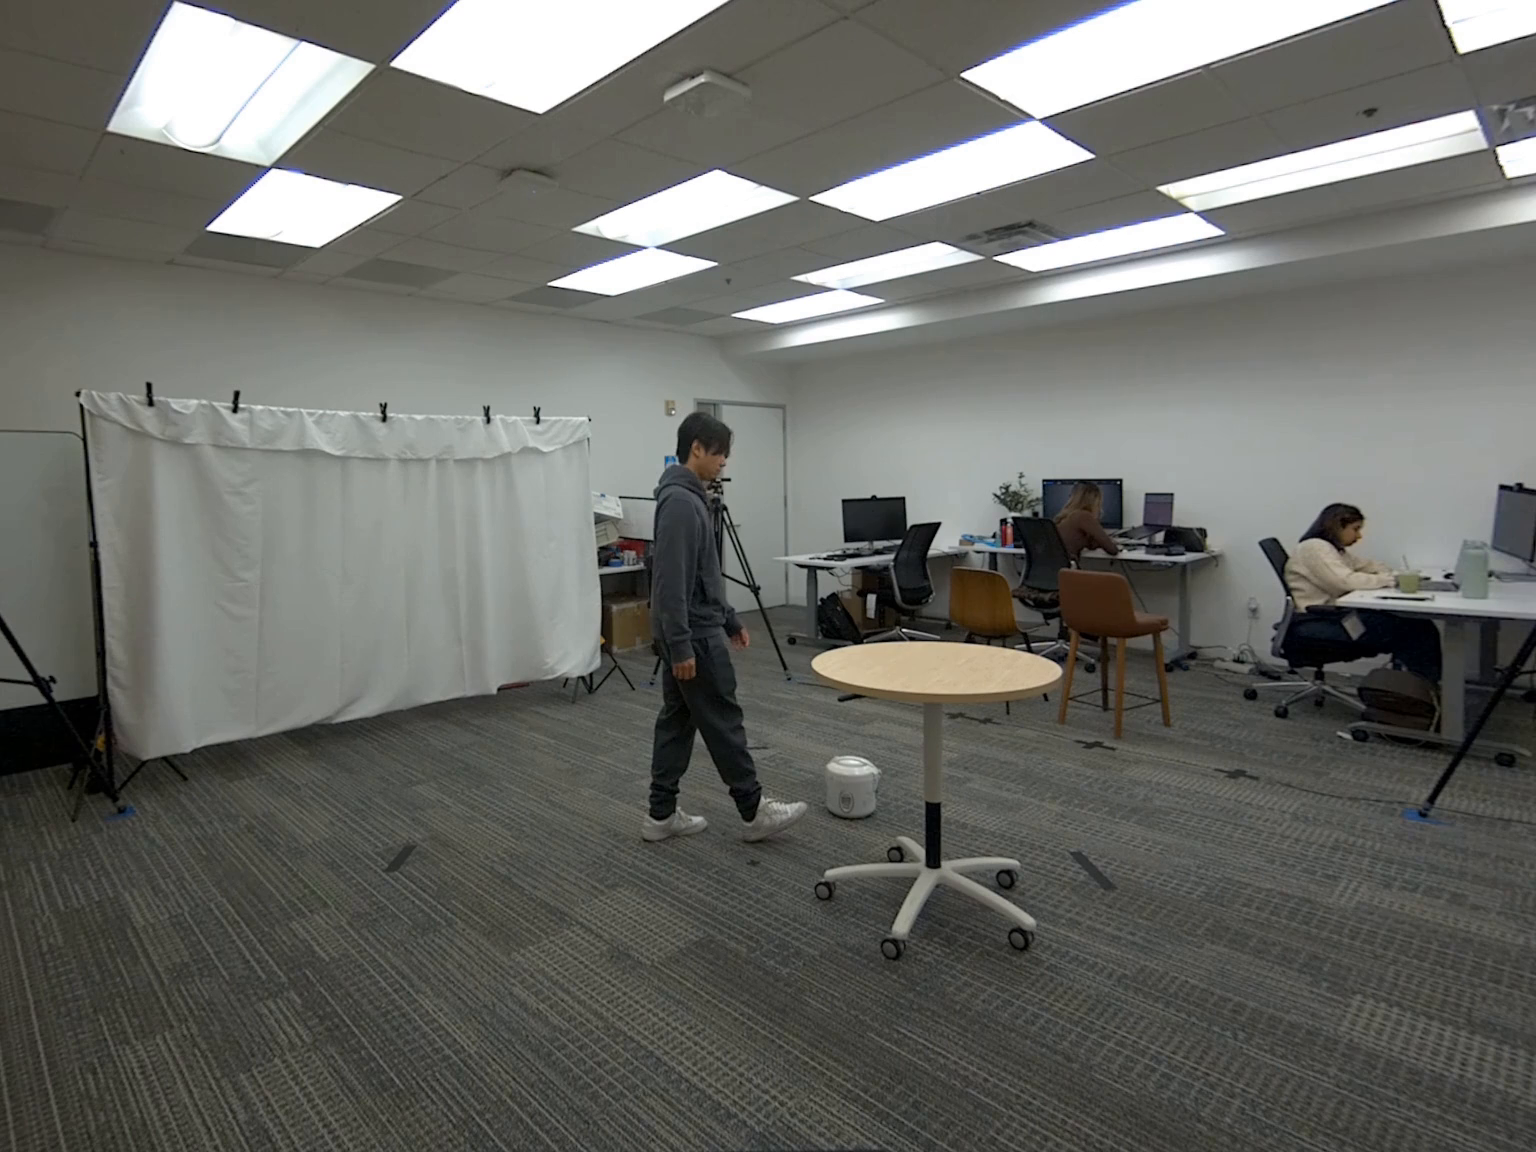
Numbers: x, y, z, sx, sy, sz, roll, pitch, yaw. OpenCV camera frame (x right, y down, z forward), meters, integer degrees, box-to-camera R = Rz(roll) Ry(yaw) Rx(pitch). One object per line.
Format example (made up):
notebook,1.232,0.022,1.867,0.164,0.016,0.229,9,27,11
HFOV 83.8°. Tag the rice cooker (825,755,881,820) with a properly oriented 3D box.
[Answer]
rice cooker,0.350,0.867,3.565,0.224,0.232,0.214,0,4,18
